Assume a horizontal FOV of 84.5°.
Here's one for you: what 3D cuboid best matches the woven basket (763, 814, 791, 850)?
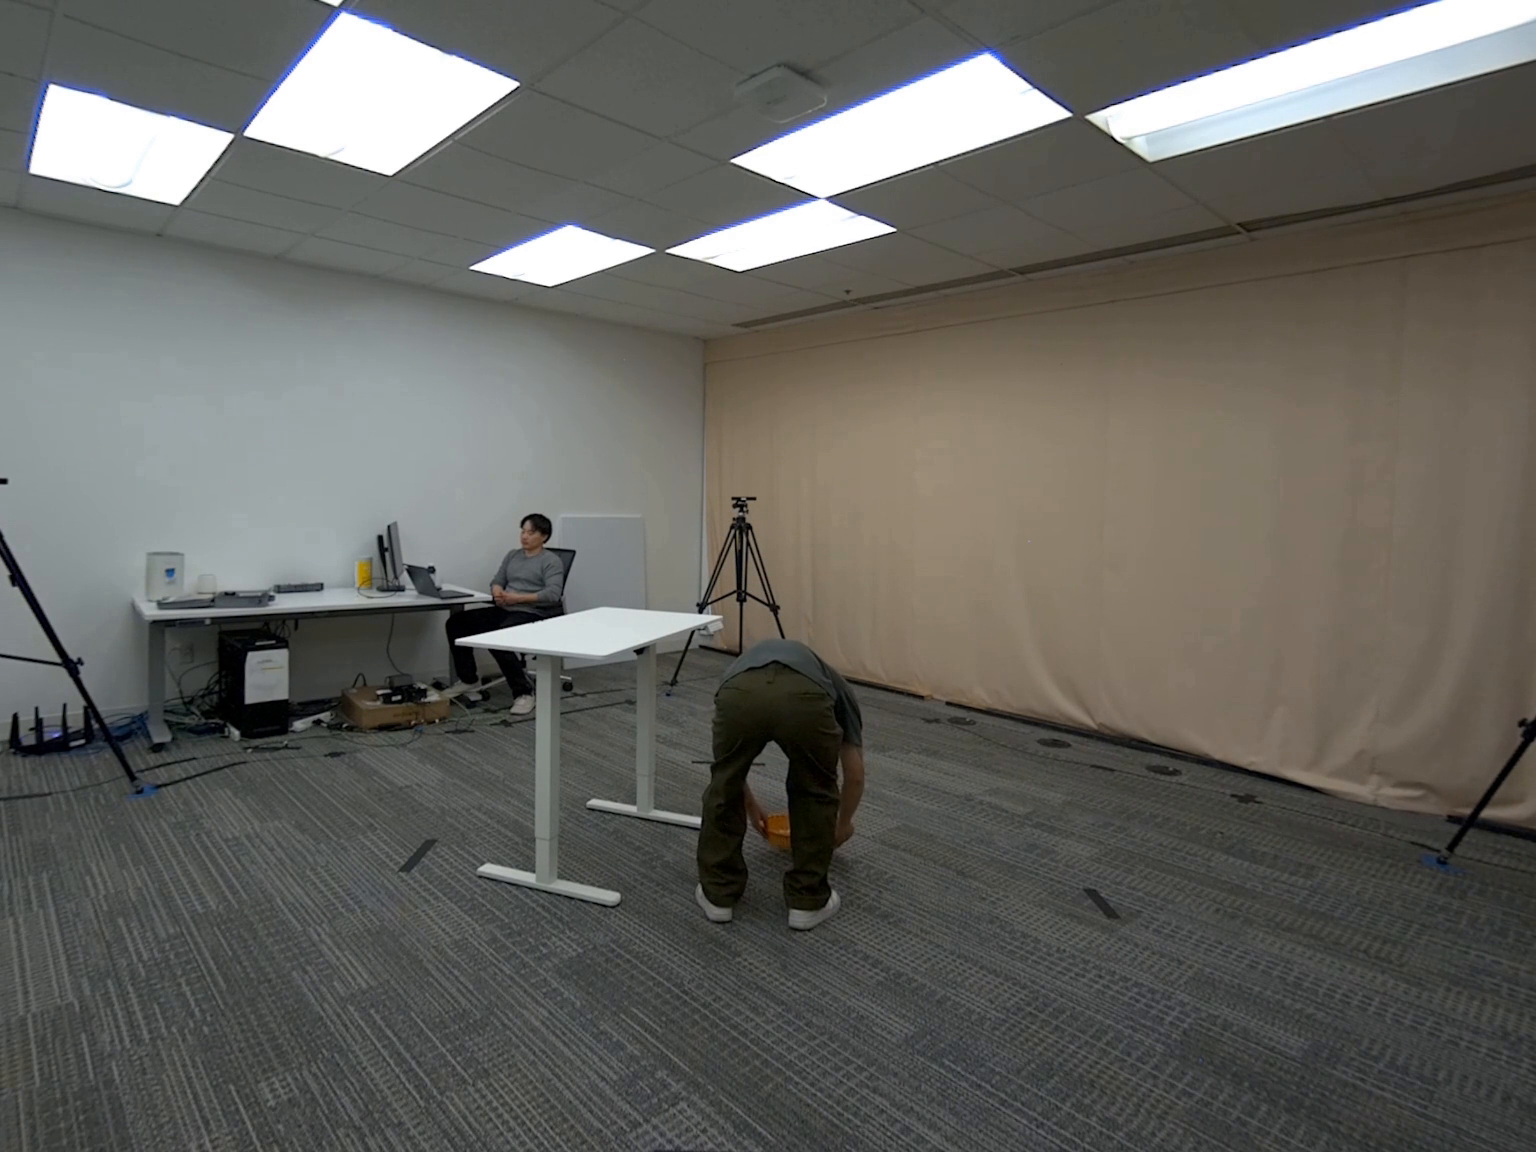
[{"bbox_3d":[0.130,1.007,3.289,0.355,0.073,0.249,3,2,17],"label":"woven basket"}]
